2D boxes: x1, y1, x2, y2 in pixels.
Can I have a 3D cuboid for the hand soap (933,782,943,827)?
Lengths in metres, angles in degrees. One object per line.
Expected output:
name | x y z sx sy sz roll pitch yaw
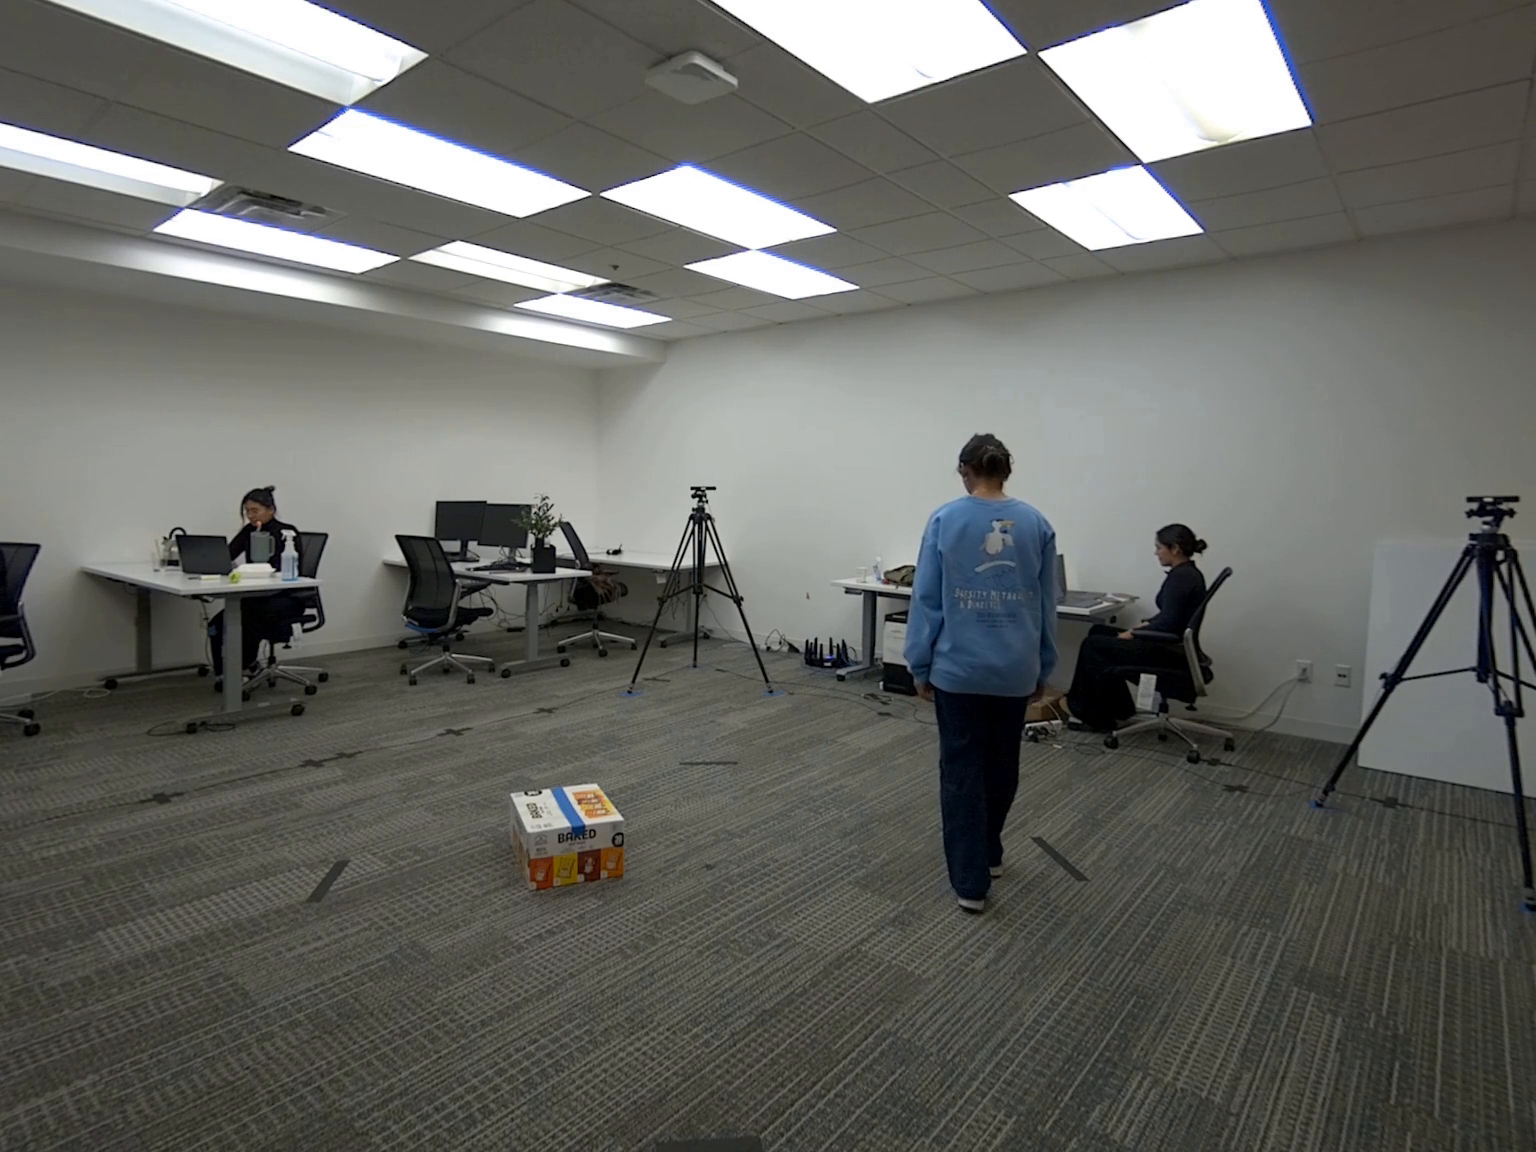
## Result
hand soap | 0.735 0.951 3.539 0.045 0.167 0.082 5 5 34
